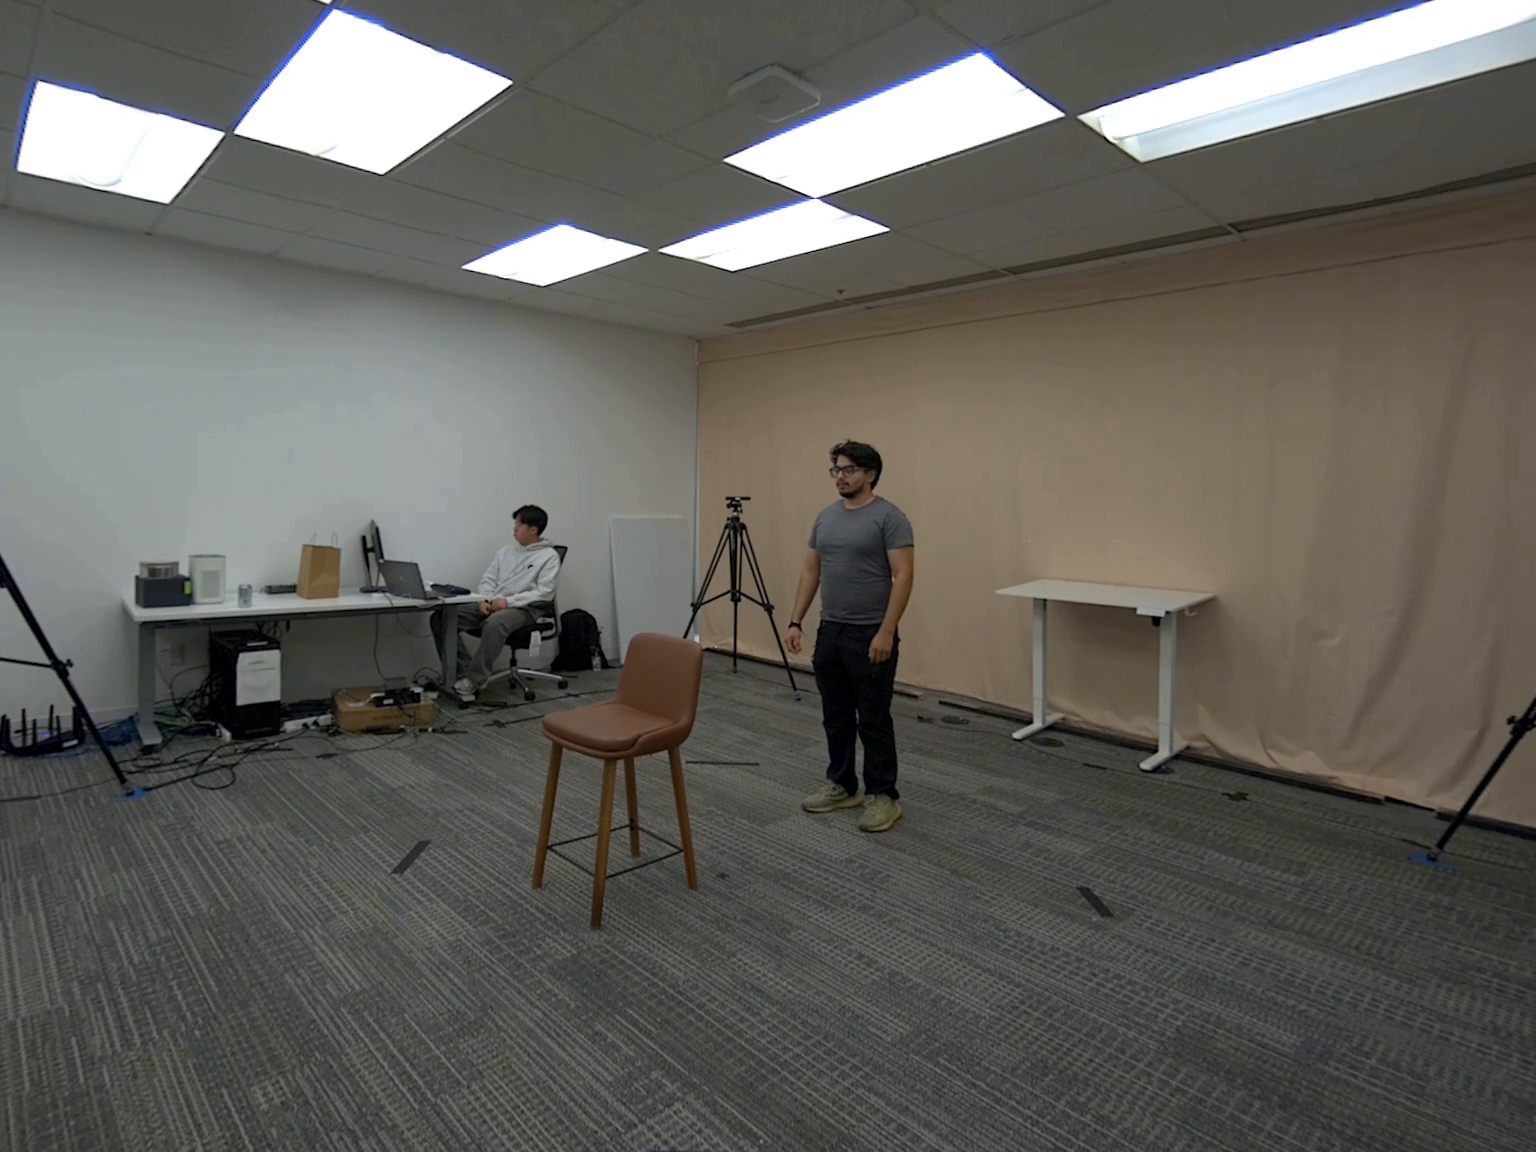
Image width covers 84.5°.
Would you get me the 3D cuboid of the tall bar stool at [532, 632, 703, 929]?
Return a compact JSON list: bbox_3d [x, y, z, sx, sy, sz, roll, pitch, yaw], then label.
[{"bbox_3d":[-0.531,0.677,2.971,0.456,0.888,0.468,0,3,-44],"label":"tall bar stool"}]
